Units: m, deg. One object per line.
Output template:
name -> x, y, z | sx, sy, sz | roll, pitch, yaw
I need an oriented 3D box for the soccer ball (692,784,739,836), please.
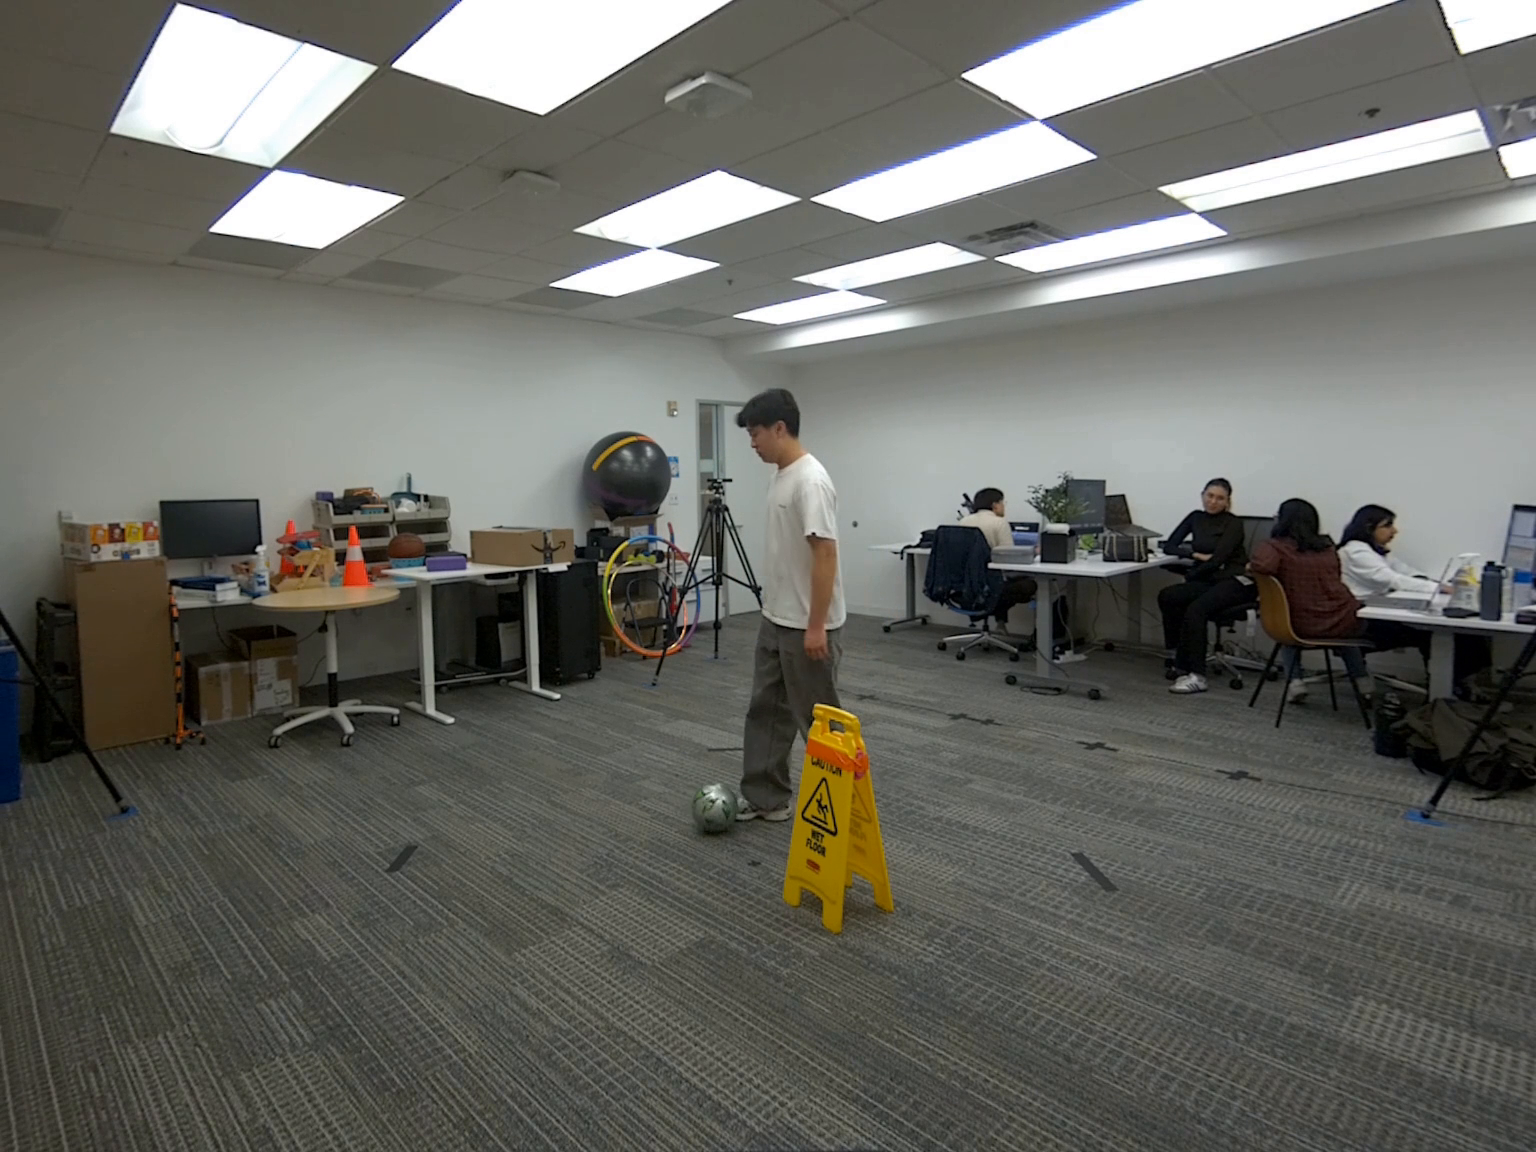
soccer ball -> -0.205, 0.919, 3.396 | 0.187, 0.187, 0.188 | -1, 5, -2
